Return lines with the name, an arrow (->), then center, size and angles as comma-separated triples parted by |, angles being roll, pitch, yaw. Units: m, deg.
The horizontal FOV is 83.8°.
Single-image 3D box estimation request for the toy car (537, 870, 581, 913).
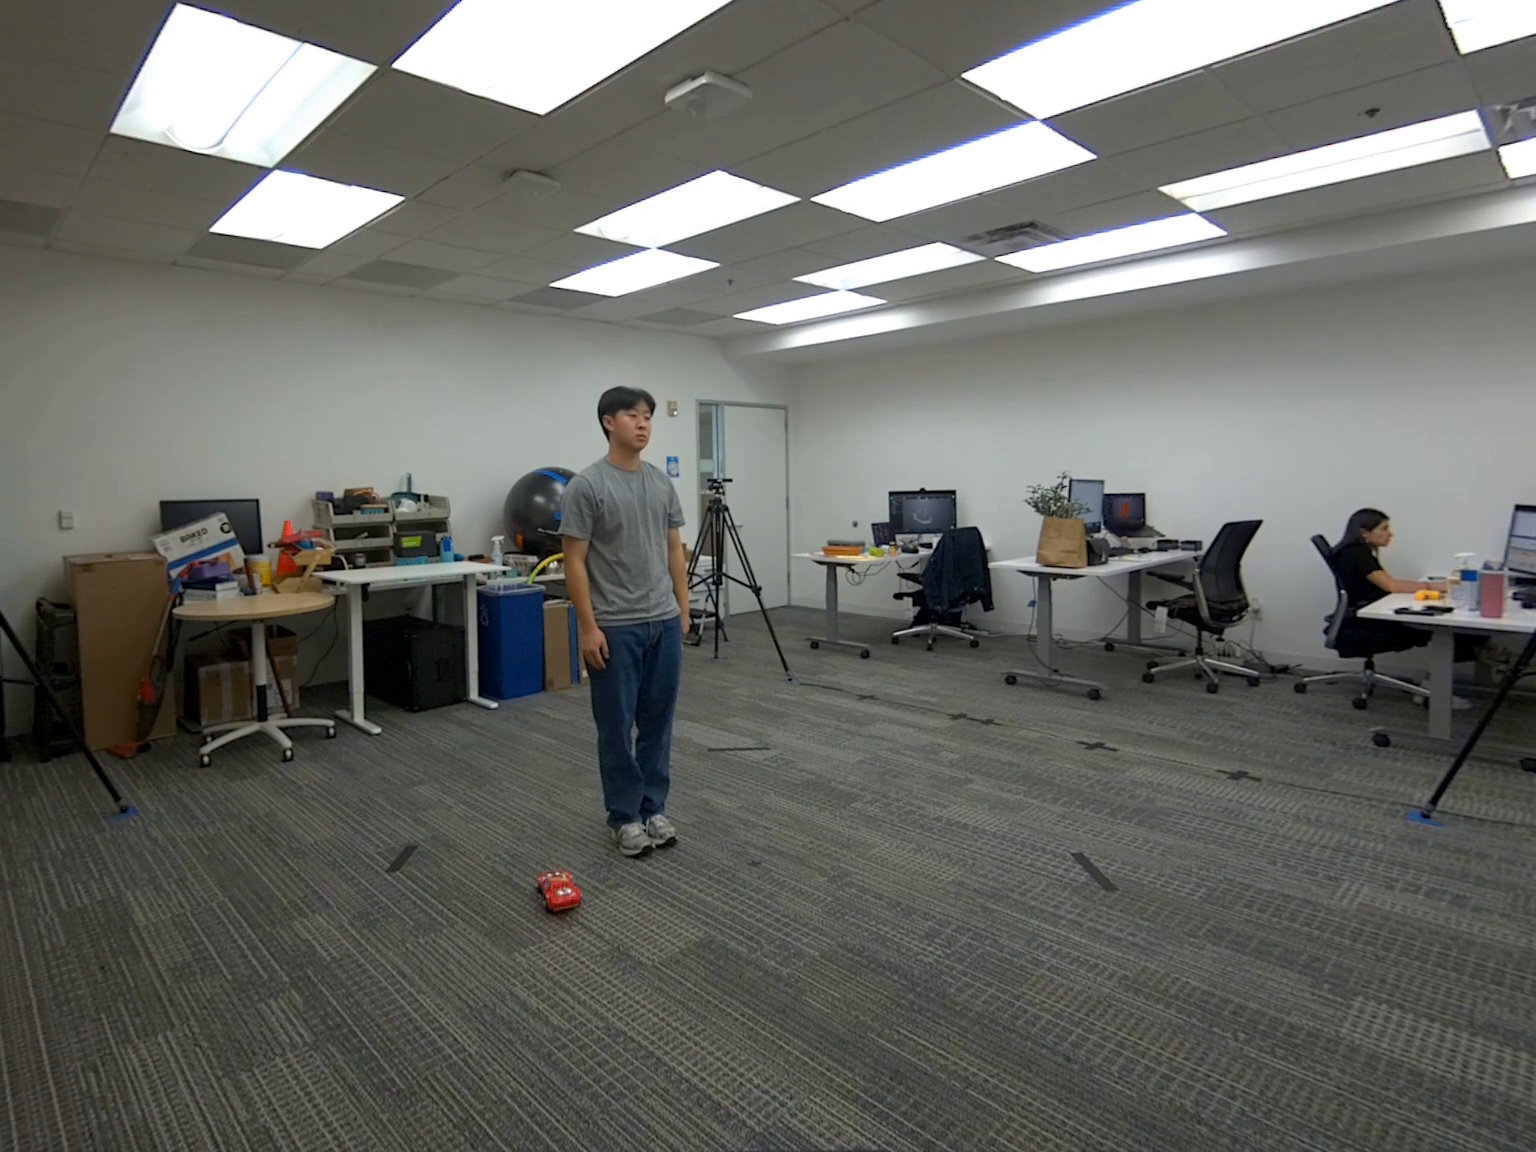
toy car -> -0.693, 1.054, 2.847 | 0.128, 0.084, 0.258 | -5, -4, -23
